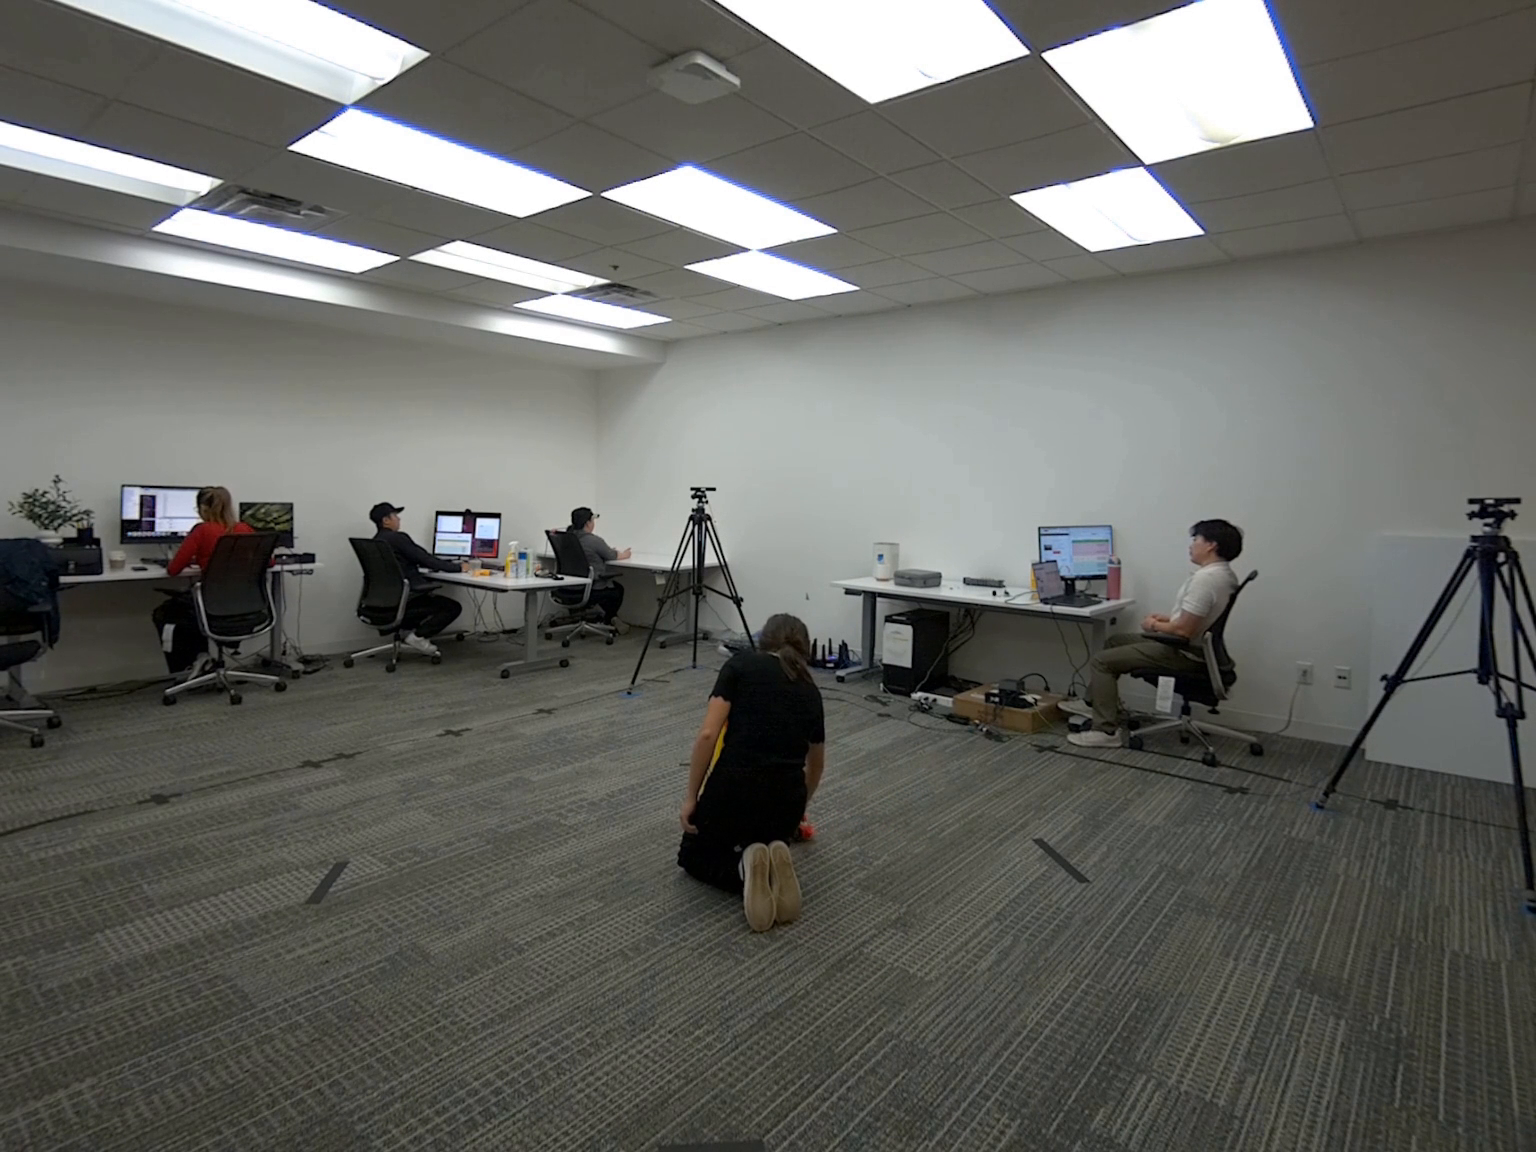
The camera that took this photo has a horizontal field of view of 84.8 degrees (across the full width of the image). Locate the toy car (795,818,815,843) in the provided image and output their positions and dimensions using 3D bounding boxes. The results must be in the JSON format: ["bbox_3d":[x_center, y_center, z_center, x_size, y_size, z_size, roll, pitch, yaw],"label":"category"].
[{"bbox_3d":[0.060,0.972,3.383,0.253,0.083,0.131,20,5,-5],"label":"toy car"}]
